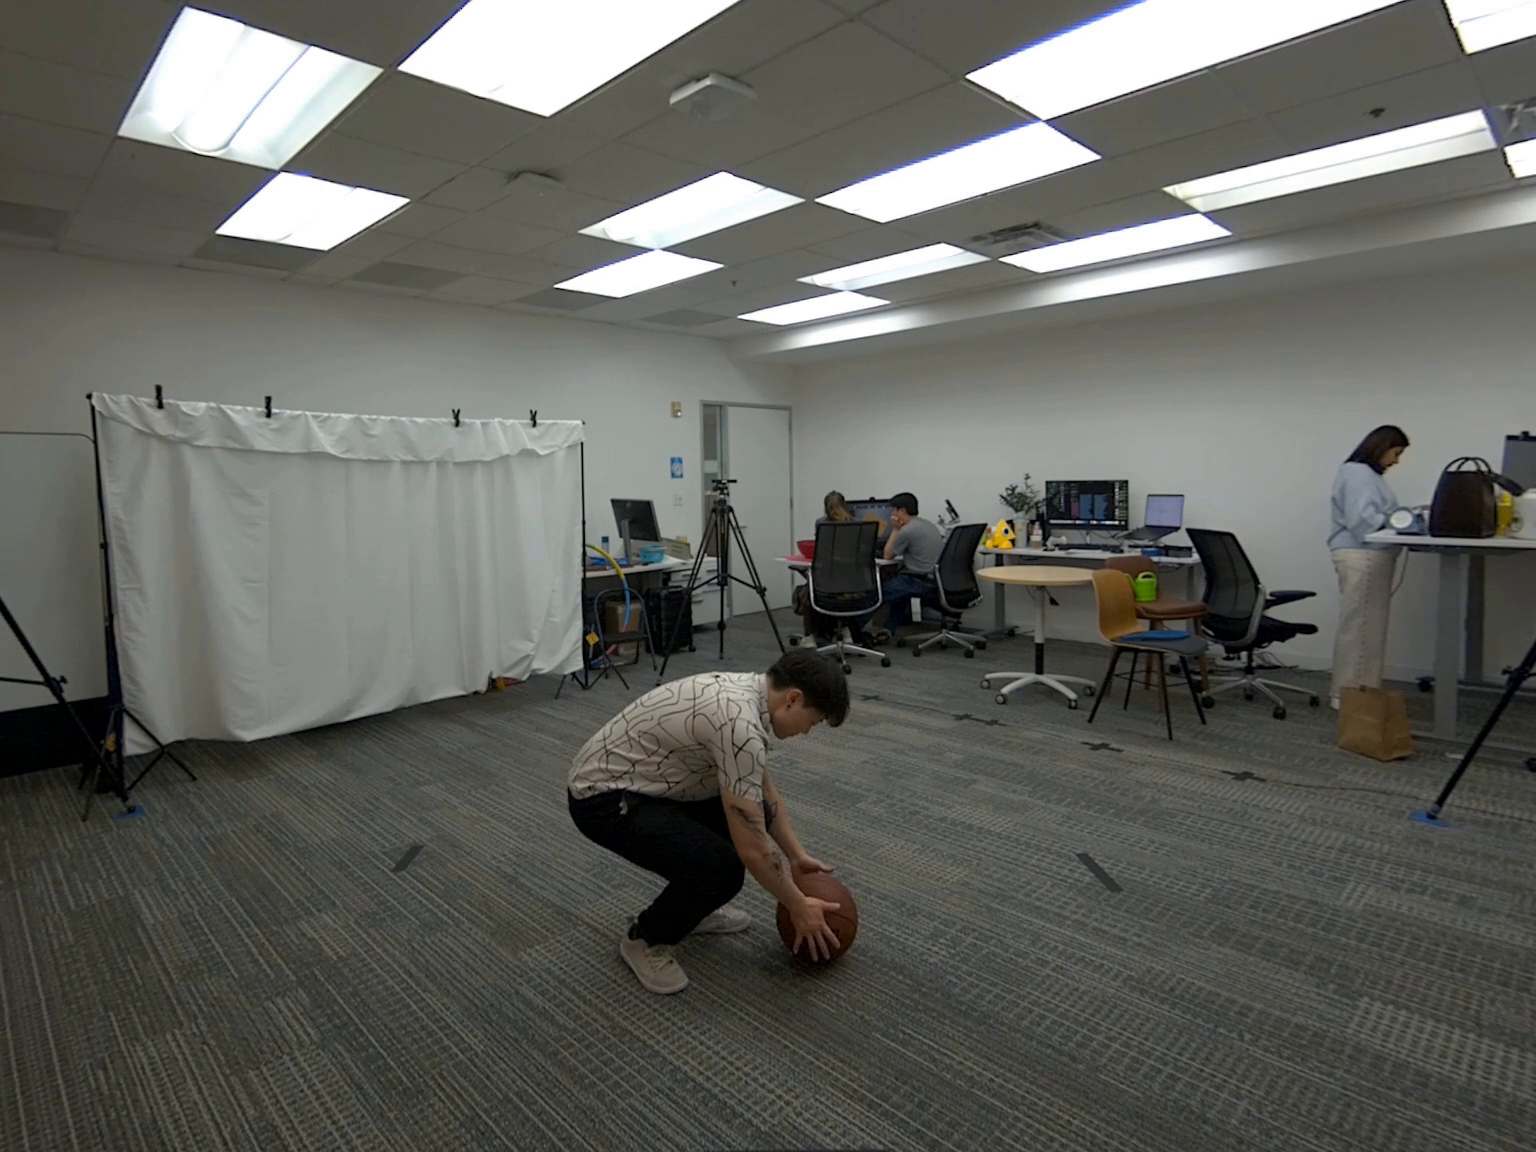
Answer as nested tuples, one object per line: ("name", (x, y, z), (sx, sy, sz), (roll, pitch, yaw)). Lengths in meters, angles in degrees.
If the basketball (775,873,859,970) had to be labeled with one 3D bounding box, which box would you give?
("basketball", (0.147, 0.990, 2.494), (0.236, 0.235, 0.237), (-1, 5, -2))
